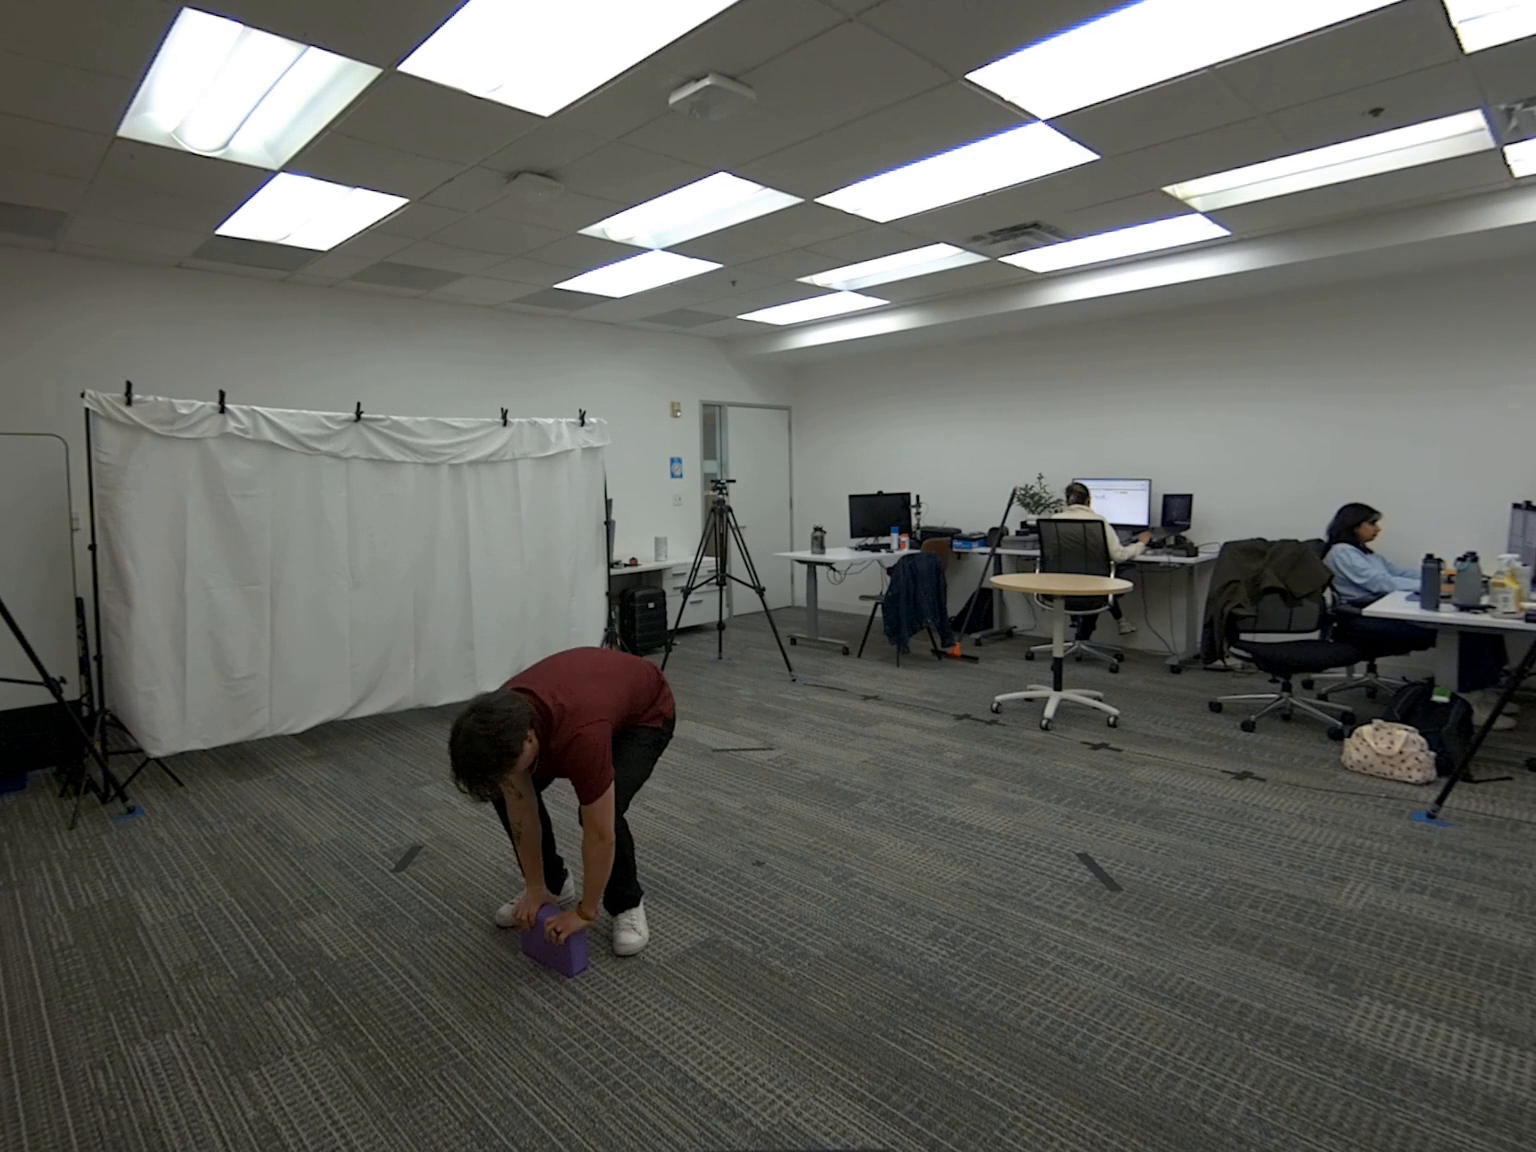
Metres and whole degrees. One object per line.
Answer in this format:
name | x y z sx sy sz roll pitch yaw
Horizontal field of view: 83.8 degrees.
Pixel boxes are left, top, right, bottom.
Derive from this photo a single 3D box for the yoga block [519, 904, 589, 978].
yoga block | -0.623 1.058 2.506 0.236 0.148 0.075 4 12 43
